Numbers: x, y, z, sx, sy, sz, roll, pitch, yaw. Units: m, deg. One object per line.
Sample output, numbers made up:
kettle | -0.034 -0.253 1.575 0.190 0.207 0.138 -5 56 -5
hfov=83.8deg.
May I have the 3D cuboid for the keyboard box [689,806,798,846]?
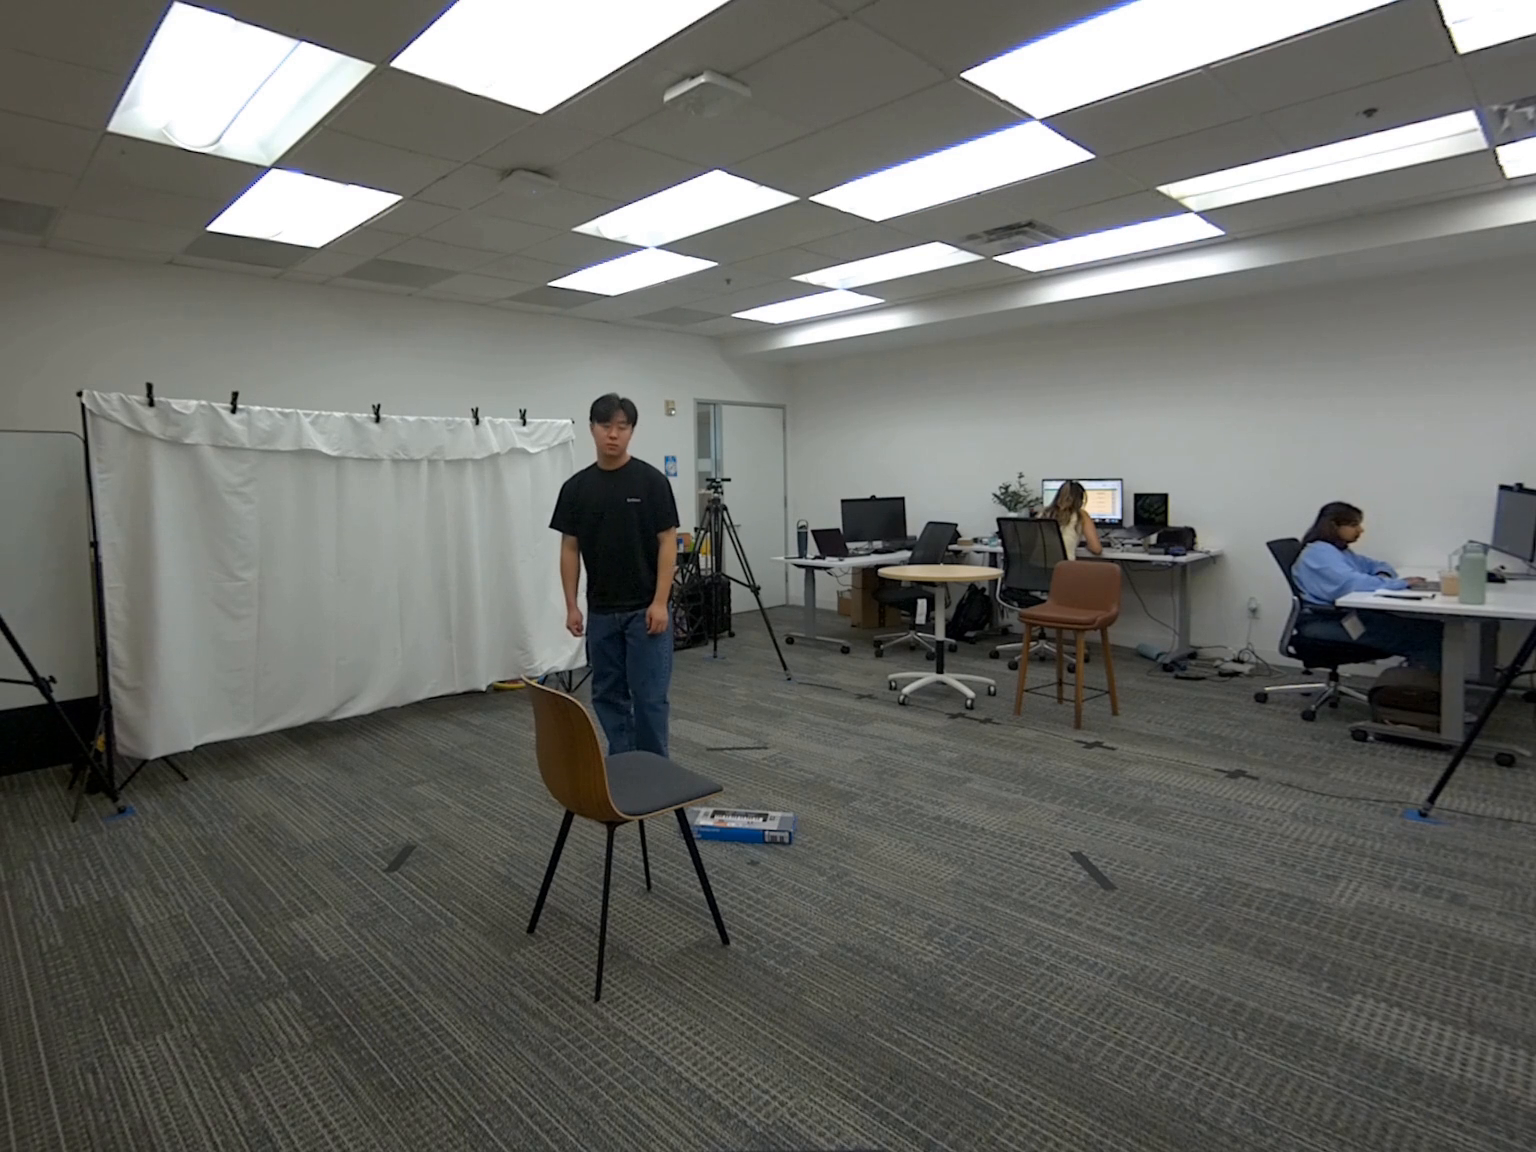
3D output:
keyboard box | -0.113 0.984 3.371 0.441 0.059 0.175 0 7 10
